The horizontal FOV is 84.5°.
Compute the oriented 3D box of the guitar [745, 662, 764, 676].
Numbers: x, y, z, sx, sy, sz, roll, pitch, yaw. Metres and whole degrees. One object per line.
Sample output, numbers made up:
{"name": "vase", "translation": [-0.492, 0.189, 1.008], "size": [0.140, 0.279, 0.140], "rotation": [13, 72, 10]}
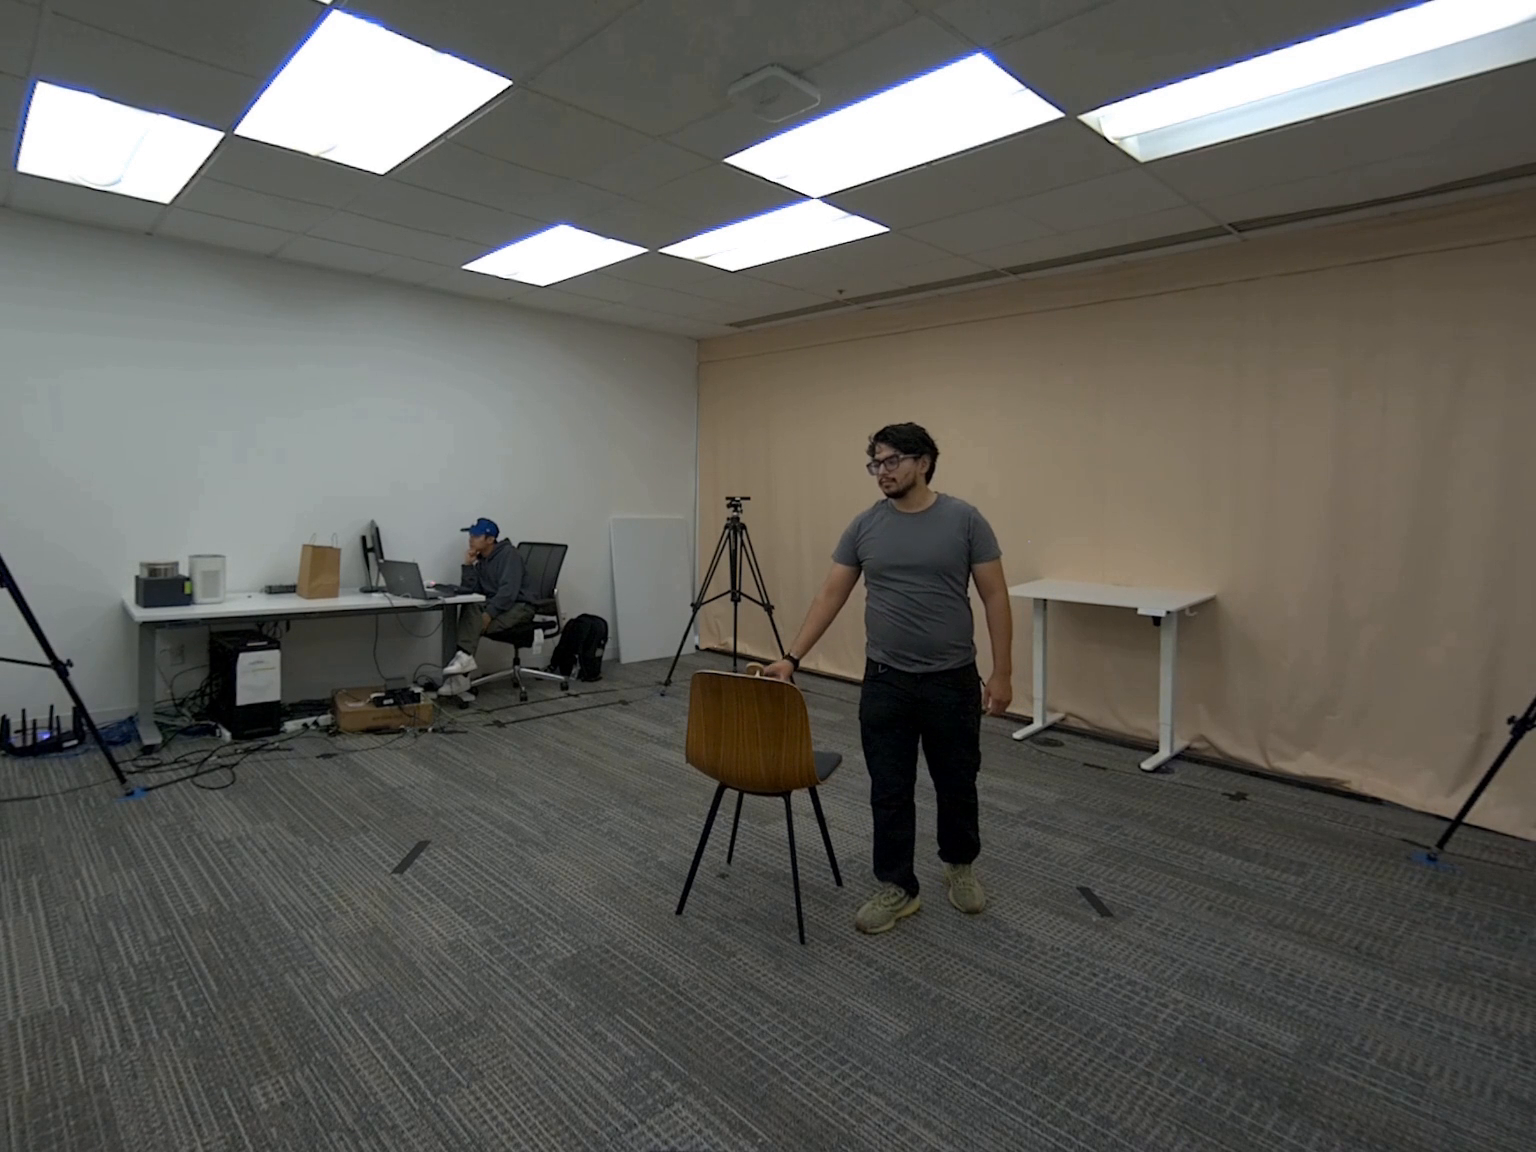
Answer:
{"name": "guitar", "translation": [-0.073, 0.456, 2.788], "size": [0.195, 0.484, 0.072], "rotation": [1, 46, 14]}
